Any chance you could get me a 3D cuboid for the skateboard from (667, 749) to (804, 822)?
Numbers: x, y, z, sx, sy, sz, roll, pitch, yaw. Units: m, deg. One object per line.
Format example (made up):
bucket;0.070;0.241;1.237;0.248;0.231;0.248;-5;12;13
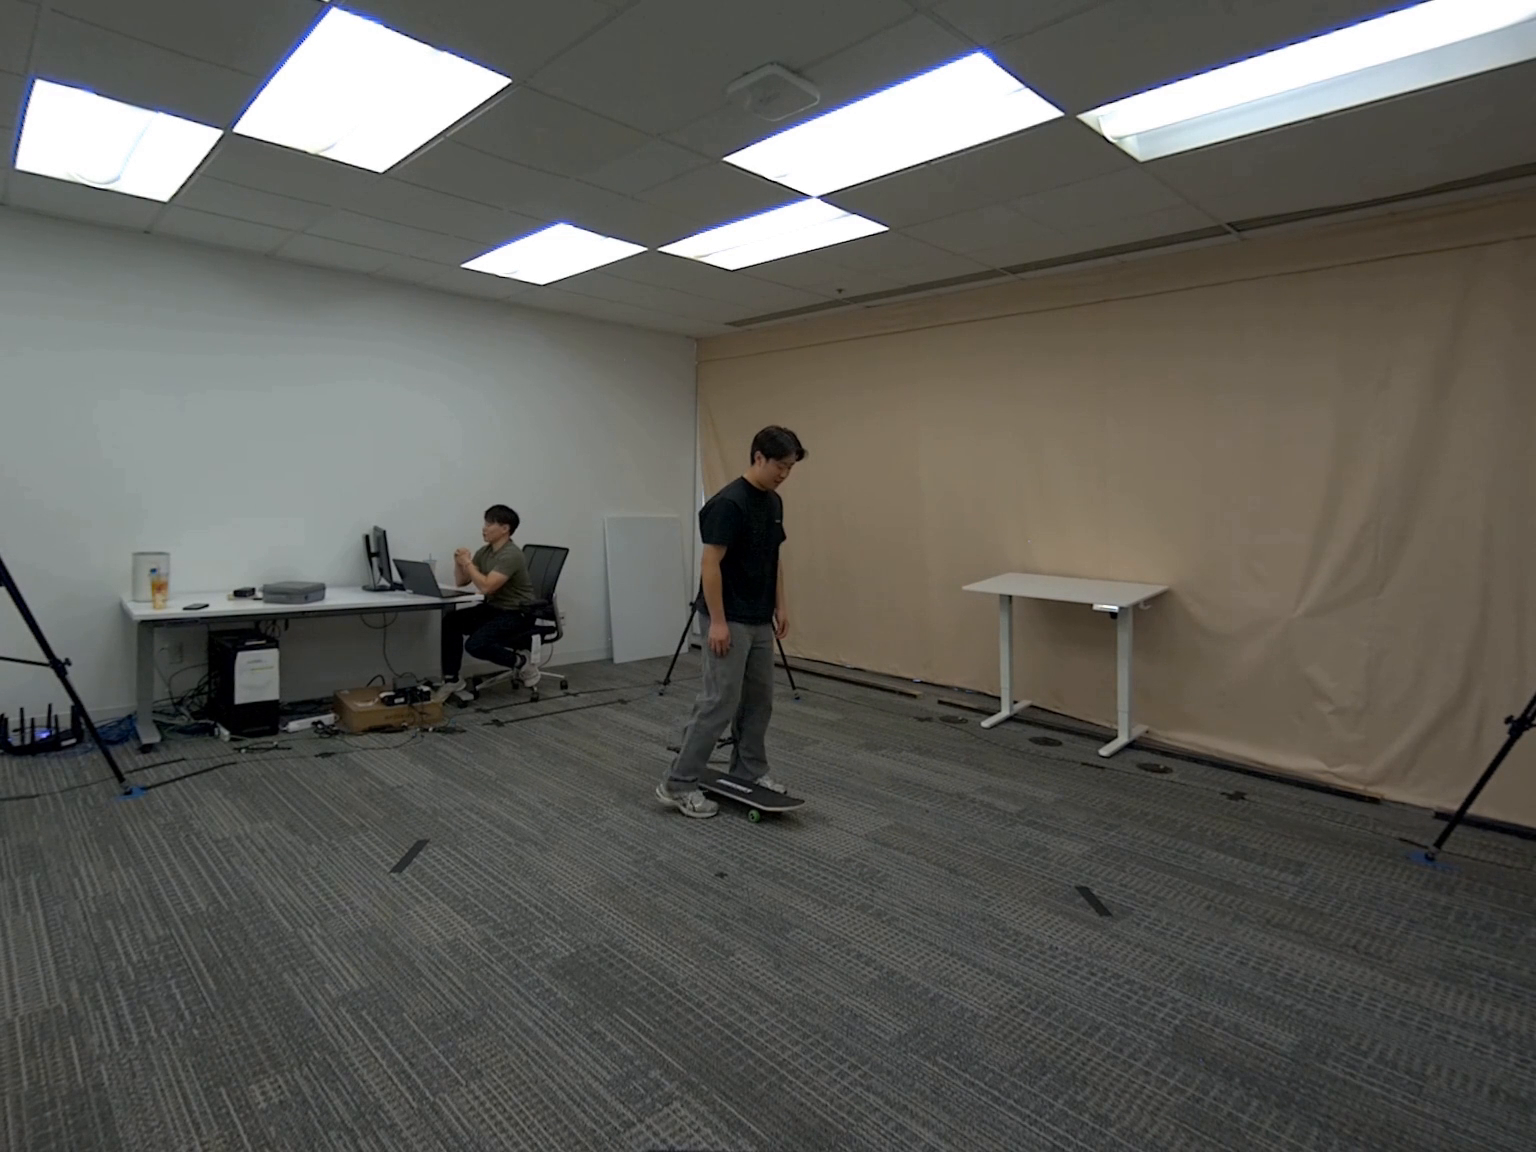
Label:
skateboard;-0.166;0.984;3.826;0.806;0.110;0.189;6;7;43
